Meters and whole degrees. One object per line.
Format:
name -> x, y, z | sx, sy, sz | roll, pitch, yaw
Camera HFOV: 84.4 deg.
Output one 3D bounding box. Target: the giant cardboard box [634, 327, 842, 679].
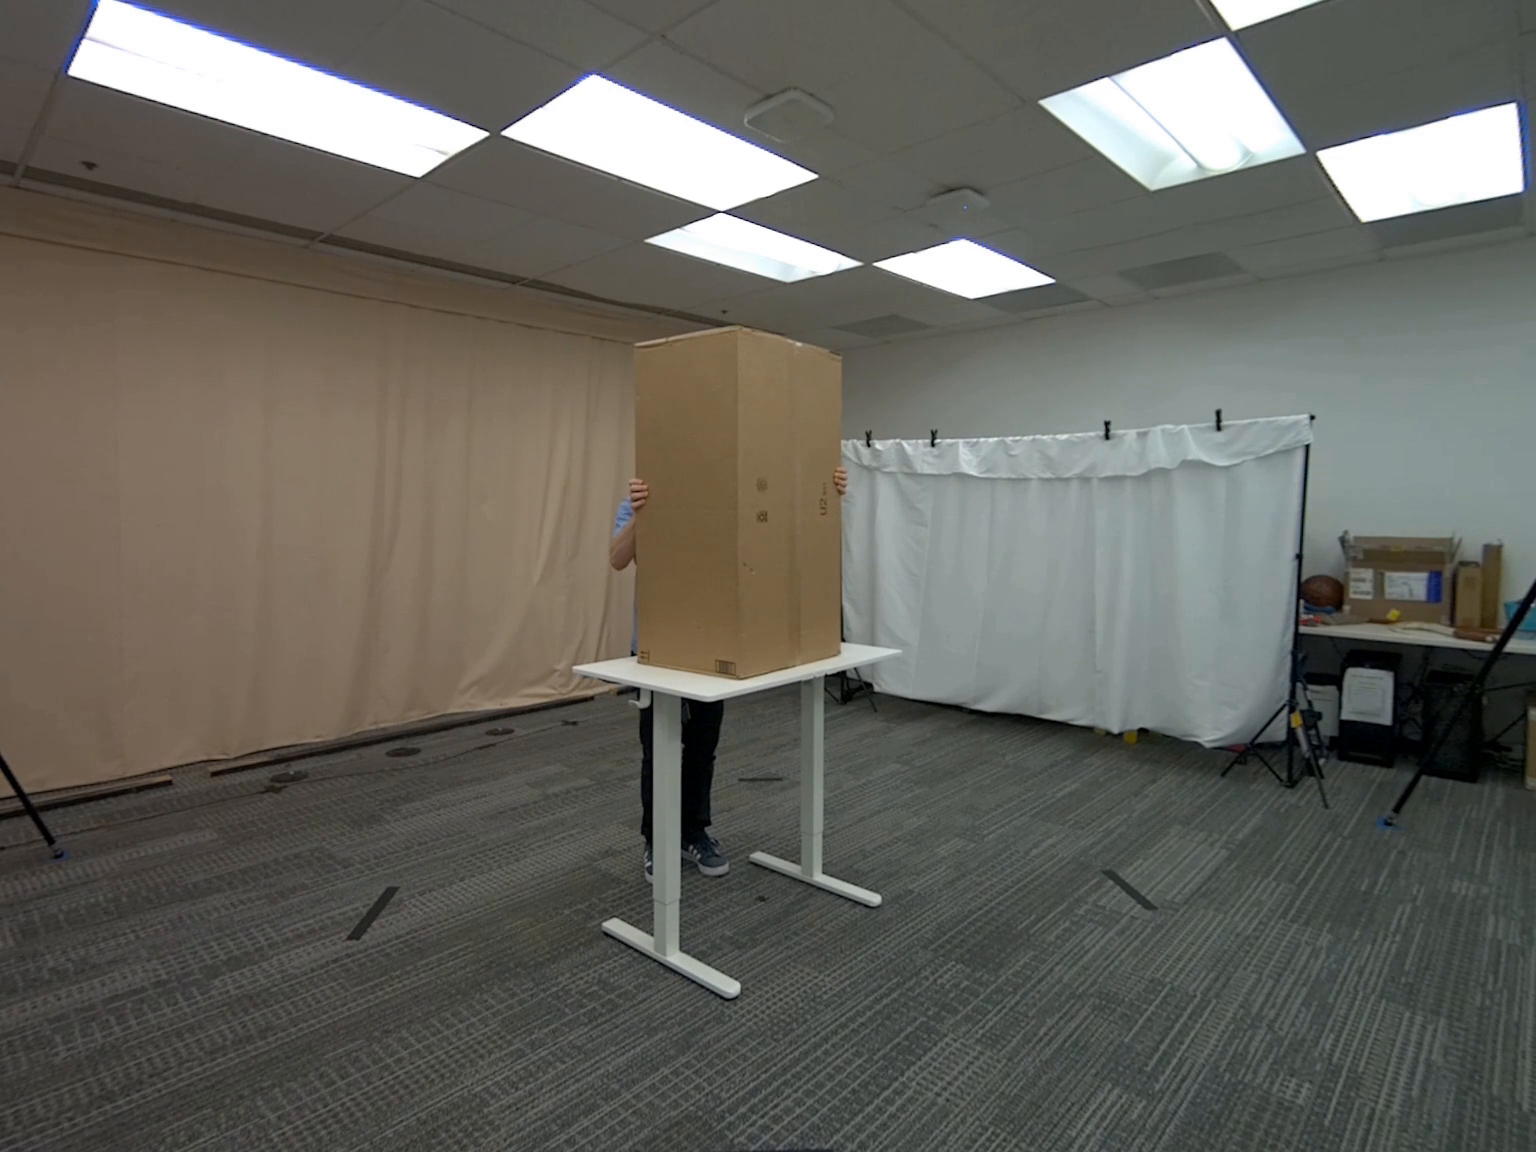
giant cardboard box -> -0.085, -0.231, 2.771 | 0.440, 1.024, 0.560 | 2, 4, 38
